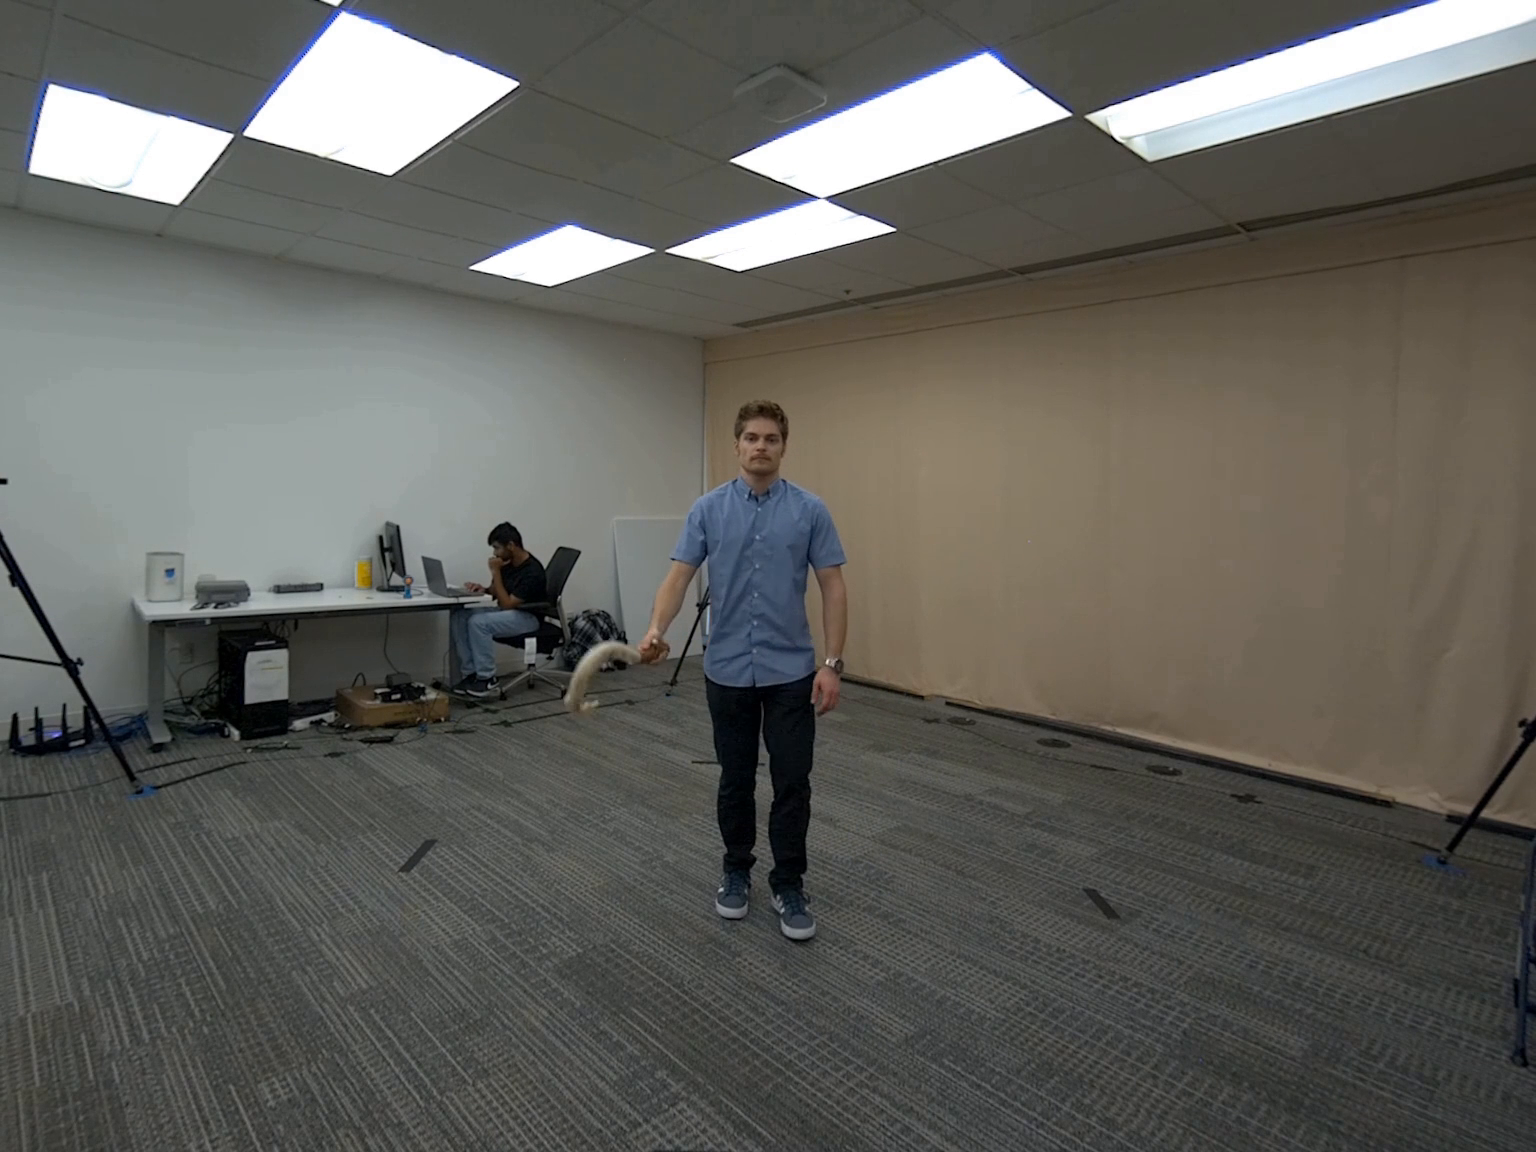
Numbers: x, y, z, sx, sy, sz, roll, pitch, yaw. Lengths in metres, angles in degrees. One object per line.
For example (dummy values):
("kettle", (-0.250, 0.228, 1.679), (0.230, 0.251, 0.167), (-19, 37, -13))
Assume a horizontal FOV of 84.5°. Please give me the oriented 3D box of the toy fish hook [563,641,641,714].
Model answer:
("toy fish hook", (-0.416, 0.253, 2.369), (0.049, 0.224, 0.498), (31, 8, 17))
